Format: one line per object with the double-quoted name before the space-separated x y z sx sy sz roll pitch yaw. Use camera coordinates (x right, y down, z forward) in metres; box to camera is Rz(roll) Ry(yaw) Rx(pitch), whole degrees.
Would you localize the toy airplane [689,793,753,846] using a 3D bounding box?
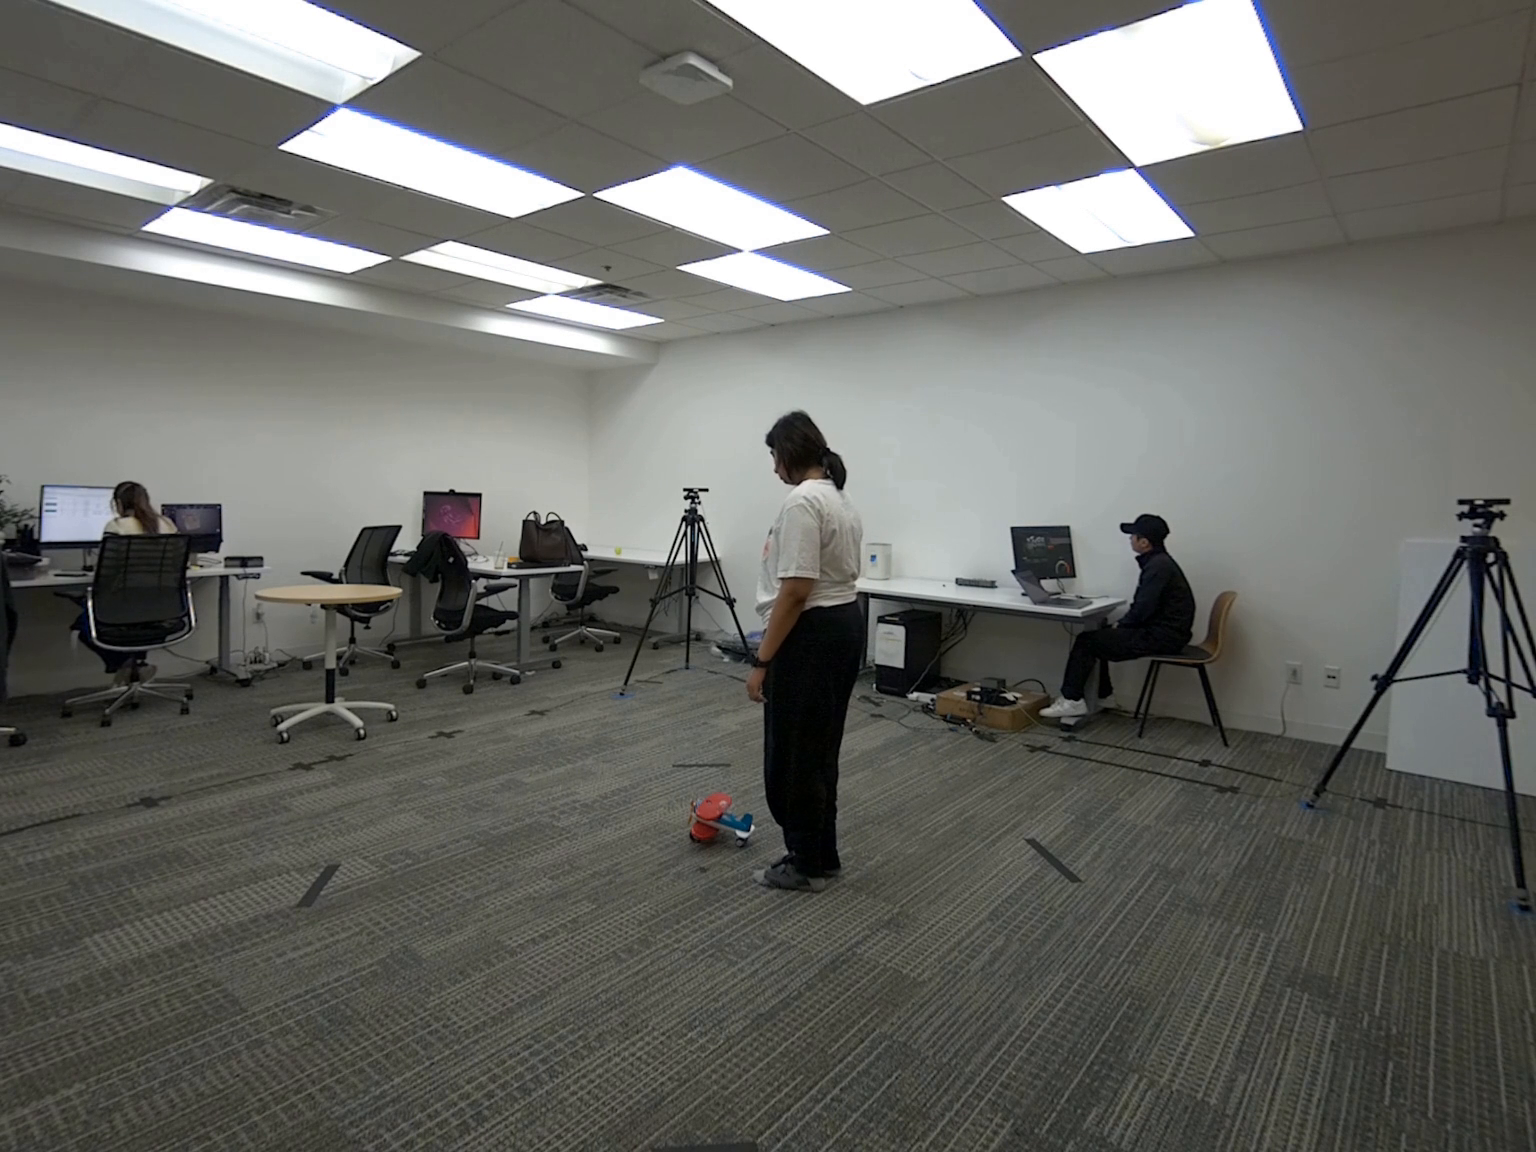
"toy airplane" -0.194 0.967 3.380 0.257 0.156 0.254 -1 5 -9
